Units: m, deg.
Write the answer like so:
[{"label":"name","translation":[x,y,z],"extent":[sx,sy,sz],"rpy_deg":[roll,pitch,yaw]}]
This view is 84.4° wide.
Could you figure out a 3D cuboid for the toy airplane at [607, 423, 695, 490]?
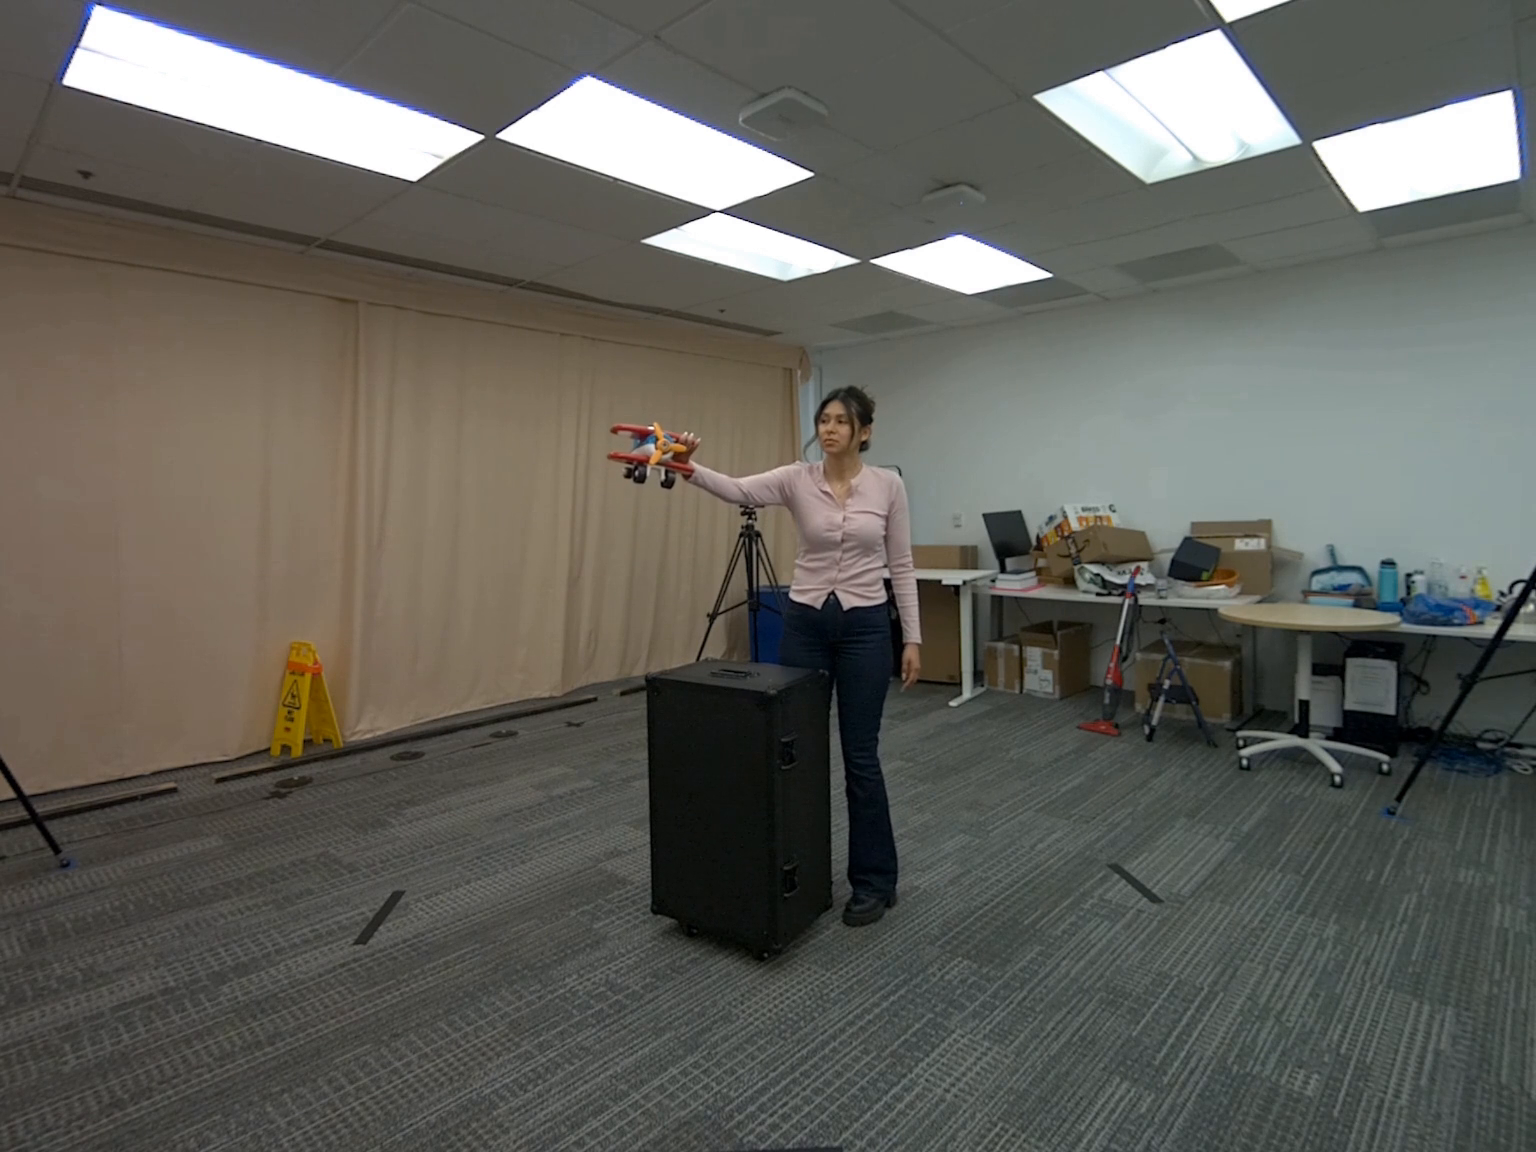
[{"label":"toy airplane","translation":[-0.359,-0.345,2.390],"extent":[0.268,0.156,0.243],"rpy_deg":[16,7,35]}]
